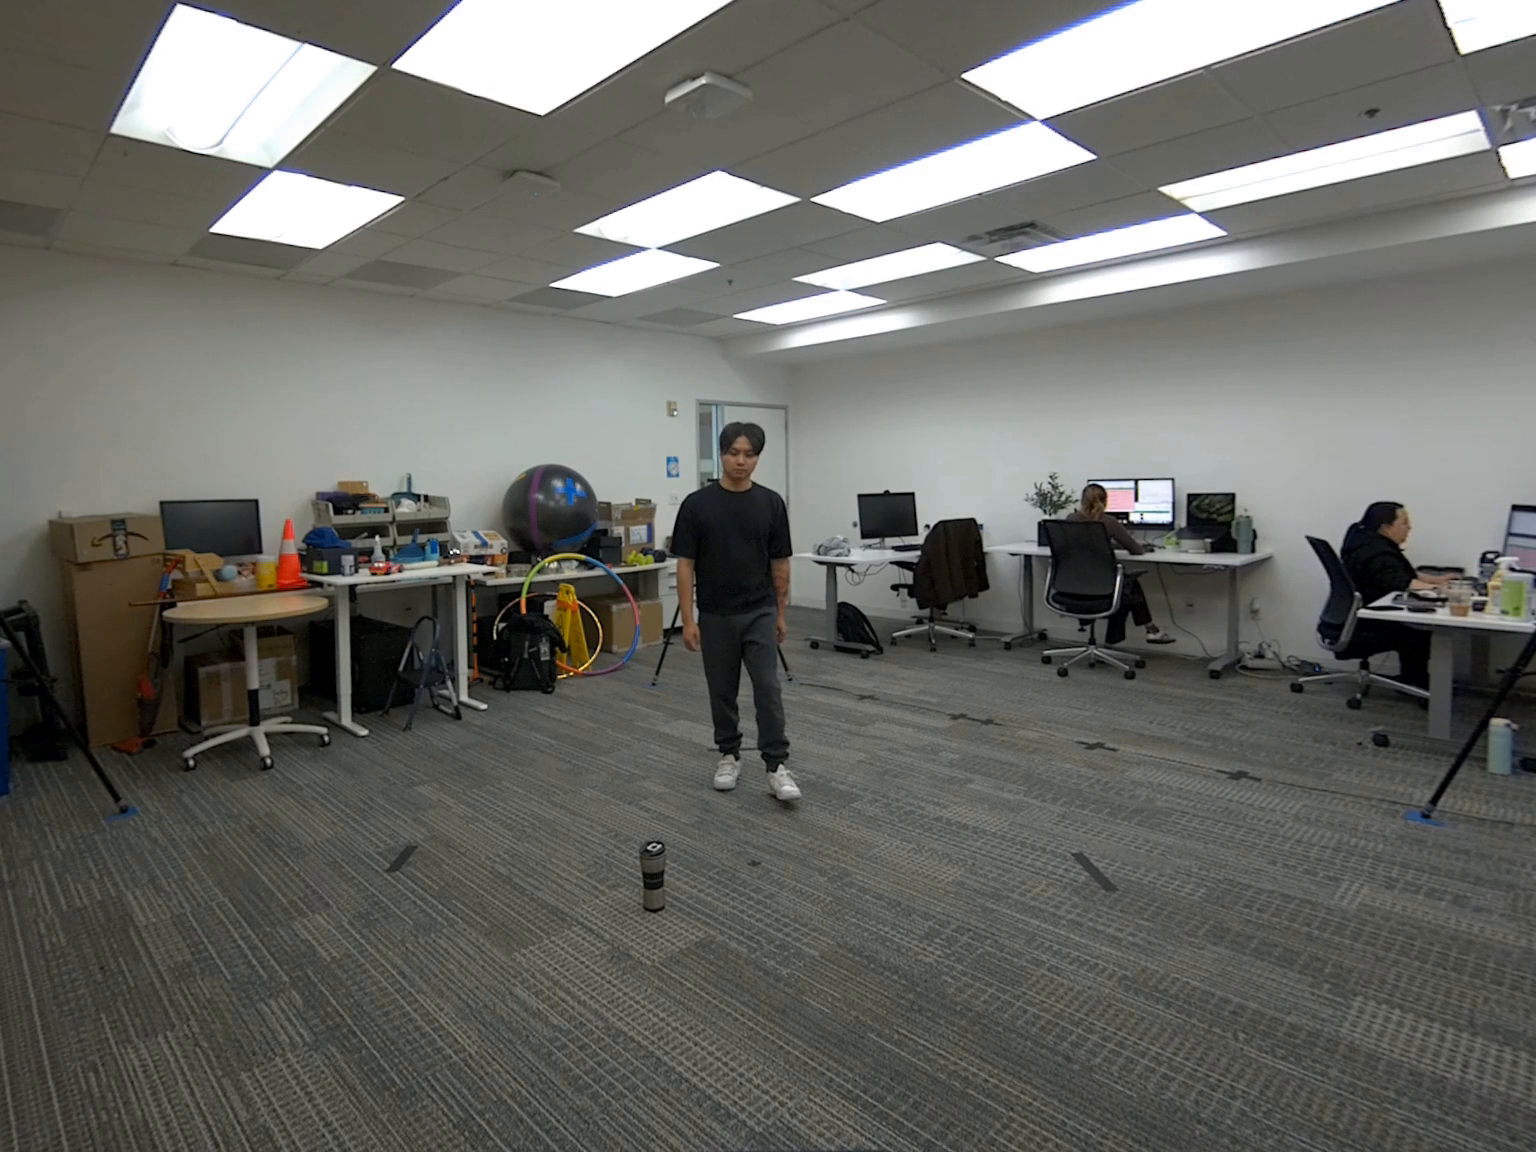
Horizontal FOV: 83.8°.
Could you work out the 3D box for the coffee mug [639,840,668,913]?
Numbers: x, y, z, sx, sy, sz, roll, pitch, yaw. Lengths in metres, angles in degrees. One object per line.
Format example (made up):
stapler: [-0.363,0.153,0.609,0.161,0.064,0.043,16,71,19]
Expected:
coffee mug: [-0.355,0.985,2.804,0.119,0.202,0.090,-12,7,-39]
